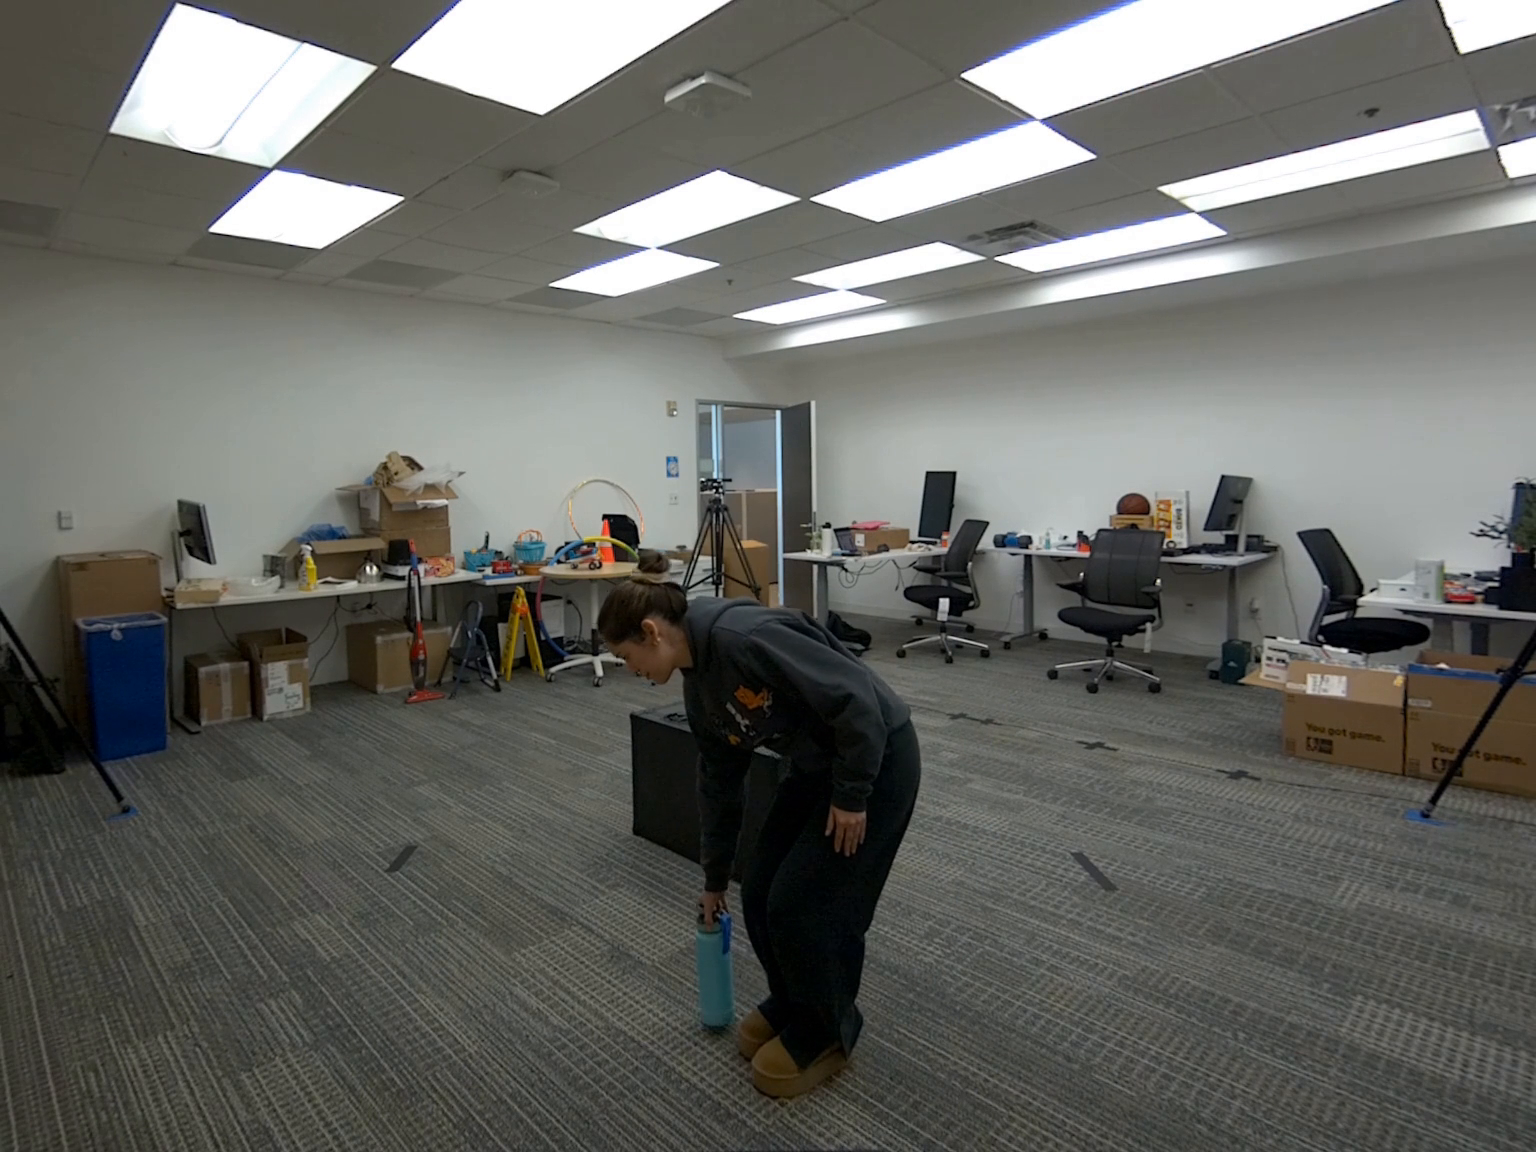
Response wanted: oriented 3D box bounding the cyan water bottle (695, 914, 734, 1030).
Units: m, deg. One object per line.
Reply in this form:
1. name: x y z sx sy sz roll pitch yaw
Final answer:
1. cyan water bottle: -0.130 0.978 2.175 0.092 0.283 0.092 0 0 -2
